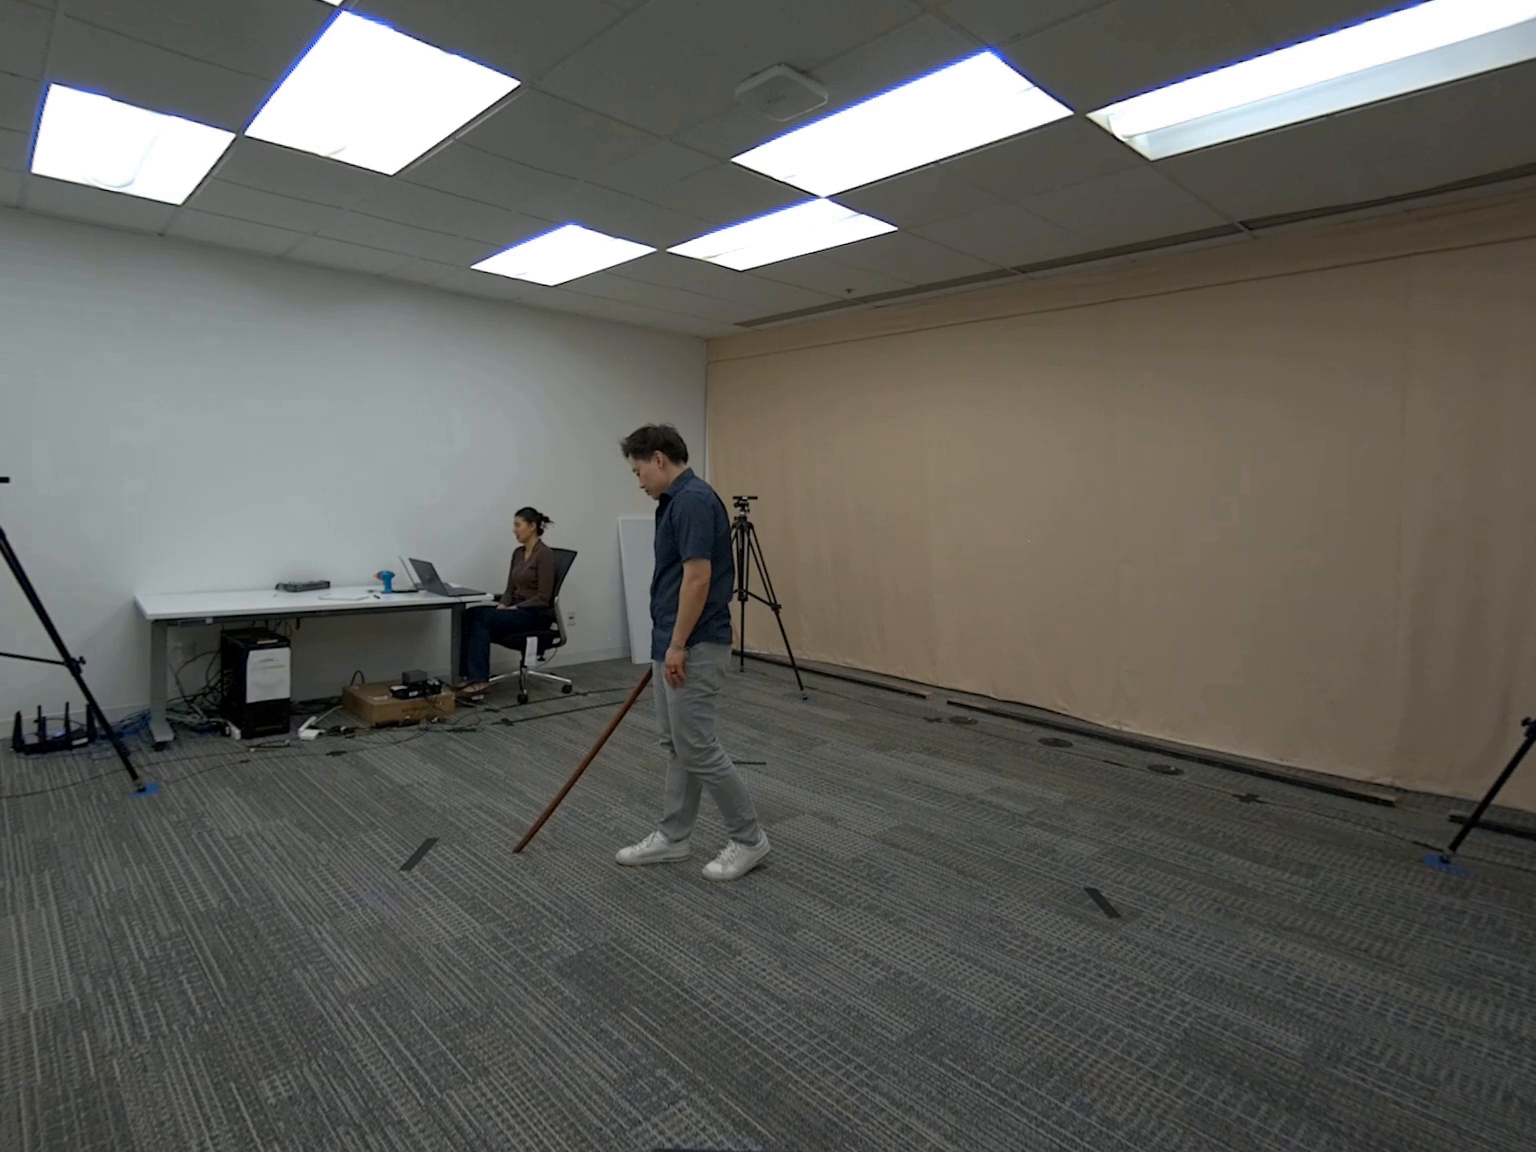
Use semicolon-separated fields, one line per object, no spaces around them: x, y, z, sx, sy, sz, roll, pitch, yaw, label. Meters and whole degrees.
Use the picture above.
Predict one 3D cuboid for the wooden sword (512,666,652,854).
-0.676;0.675;3.369;0.025;1.026;0.050;24;-18;37;wooden sword
